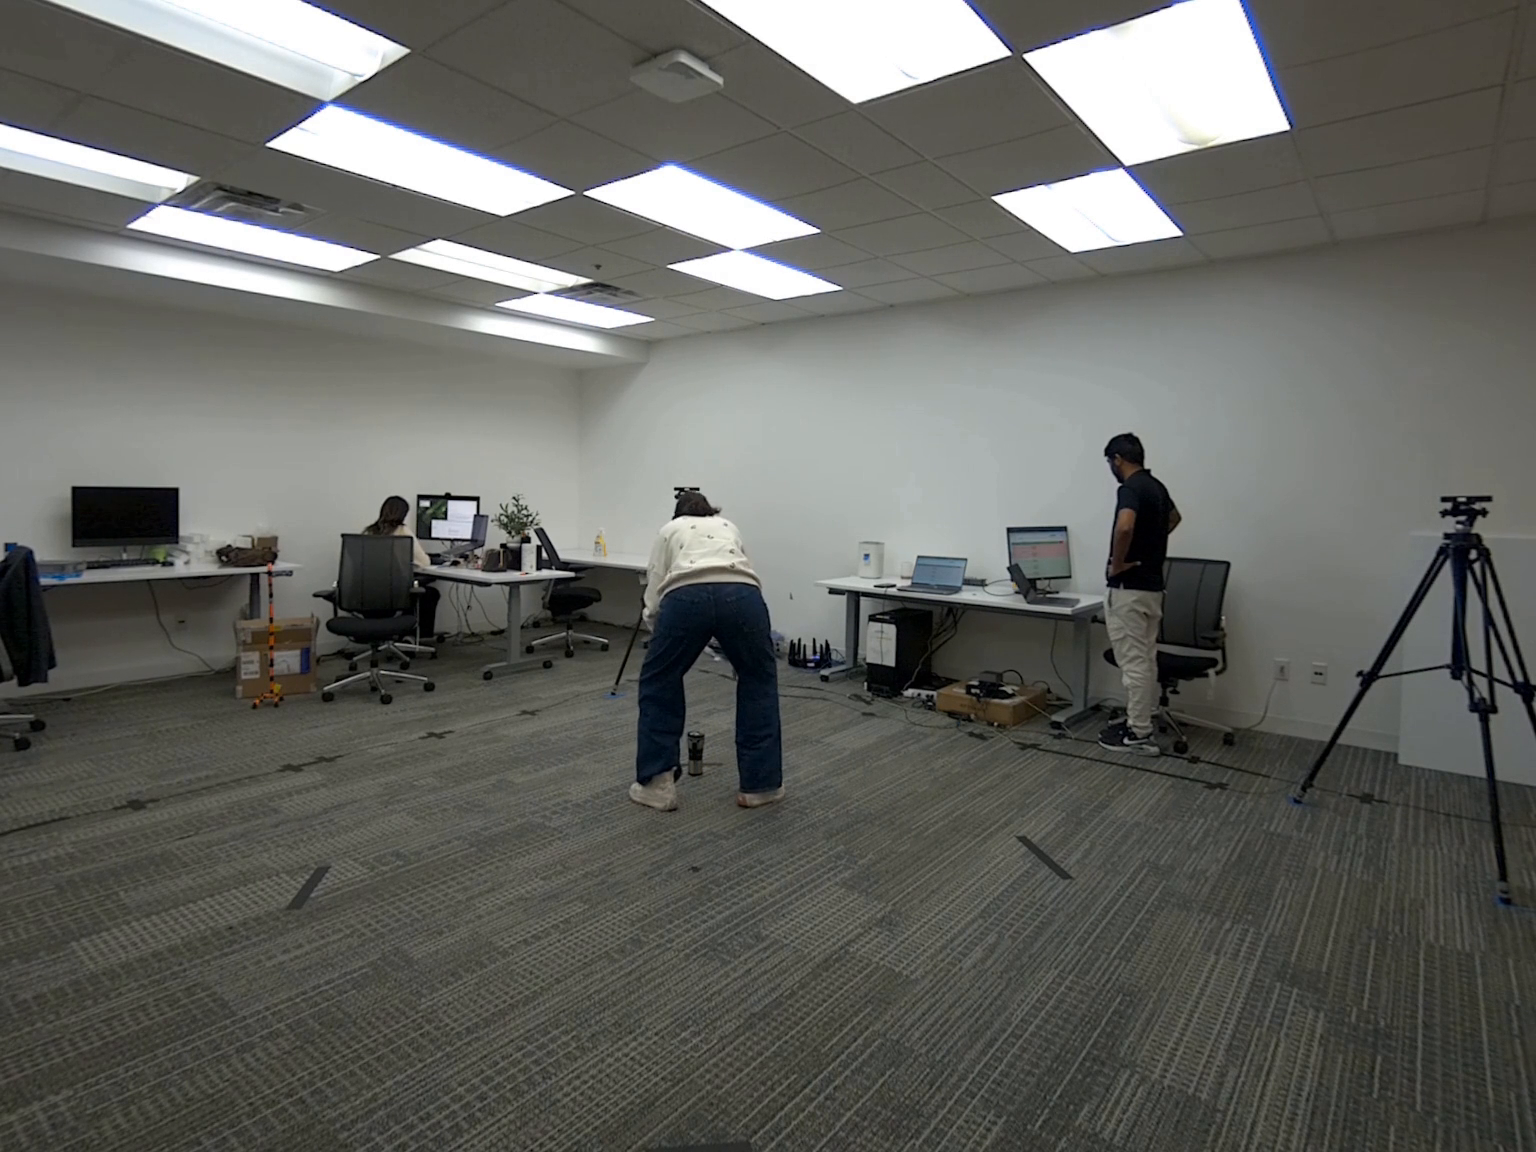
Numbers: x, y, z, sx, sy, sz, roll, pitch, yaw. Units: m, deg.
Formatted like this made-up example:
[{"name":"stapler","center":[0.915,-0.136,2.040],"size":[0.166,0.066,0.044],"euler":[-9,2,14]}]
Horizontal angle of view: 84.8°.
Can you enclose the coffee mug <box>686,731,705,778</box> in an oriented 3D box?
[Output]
[{"name":"coffee mug","center":[-0.377,0.865,4.136],"size":[0.091,0.202,0.118],"euler":[7,3,32]}]
